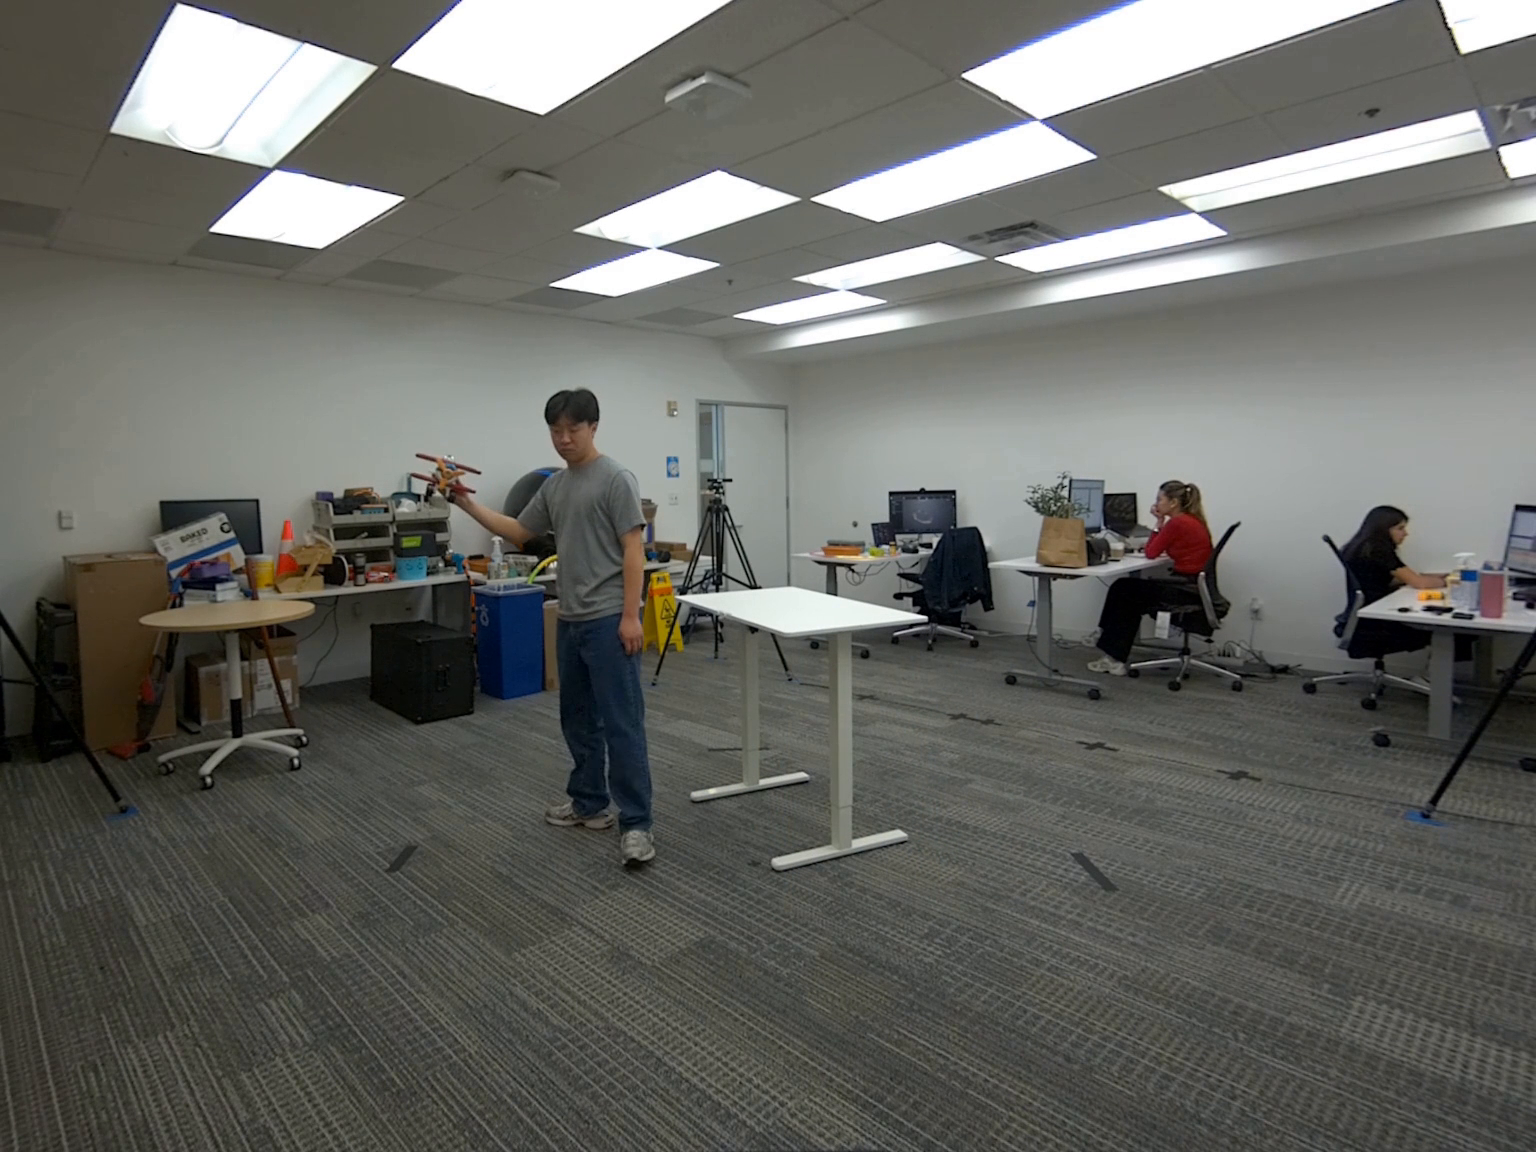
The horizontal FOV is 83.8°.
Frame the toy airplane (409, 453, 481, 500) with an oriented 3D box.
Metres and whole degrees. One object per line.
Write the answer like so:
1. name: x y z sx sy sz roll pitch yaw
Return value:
1. toy airplane: -1.297 -0.407 3.398 0.269 0.155 0.243 31 15 36
